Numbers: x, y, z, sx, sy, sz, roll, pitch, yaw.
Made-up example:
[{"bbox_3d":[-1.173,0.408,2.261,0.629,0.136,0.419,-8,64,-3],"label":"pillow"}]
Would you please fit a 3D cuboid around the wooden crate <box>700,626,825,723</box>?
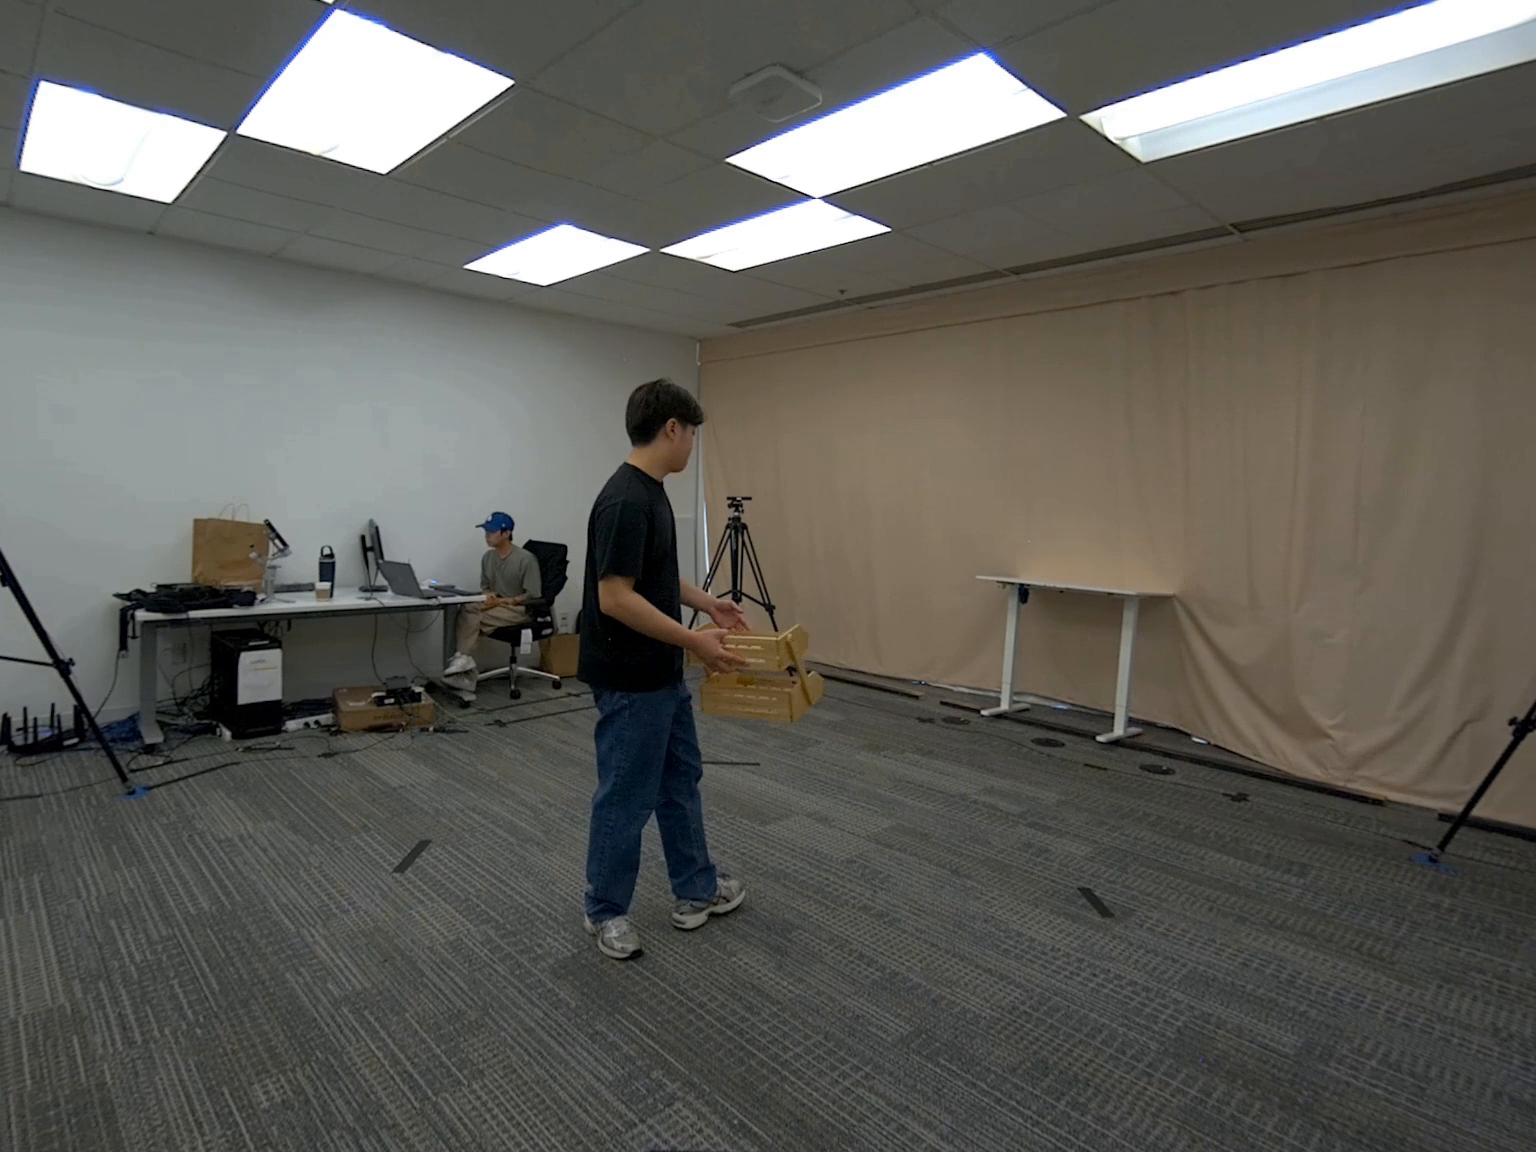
[{"bbox_3d":[-0.038,0.264,2.511,0.331,0.271,0.298,0,12,27],"label":"wooden crate"}]
